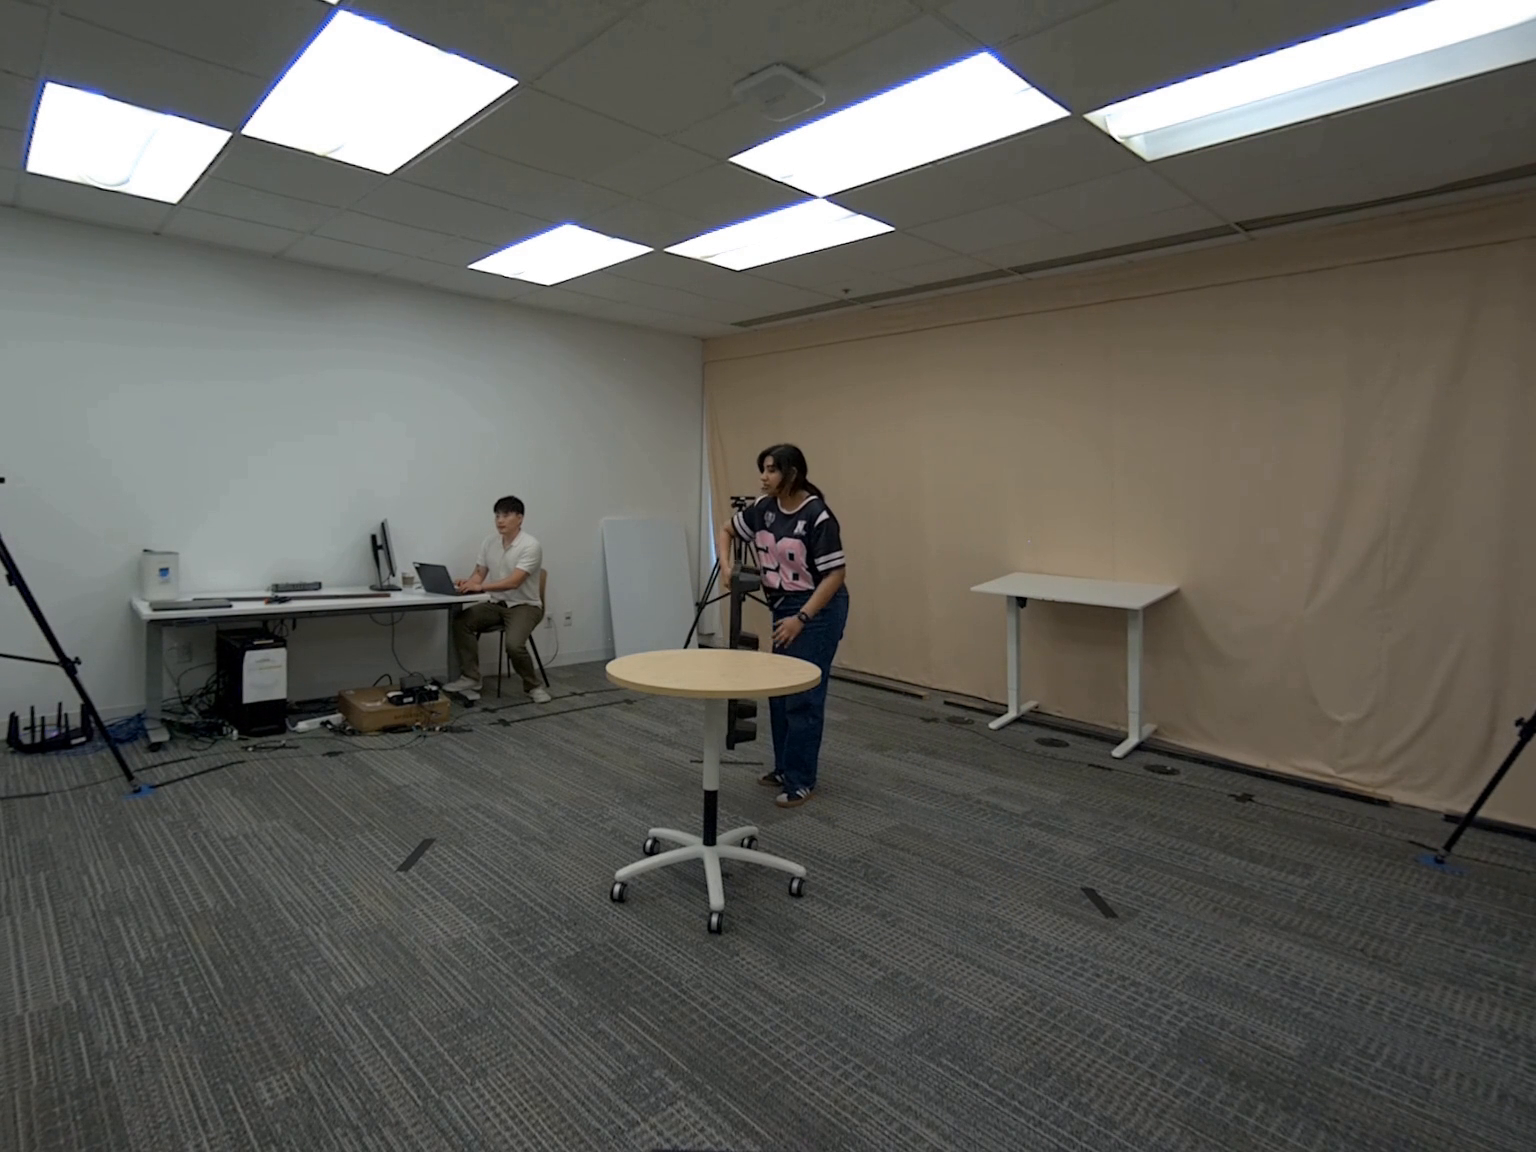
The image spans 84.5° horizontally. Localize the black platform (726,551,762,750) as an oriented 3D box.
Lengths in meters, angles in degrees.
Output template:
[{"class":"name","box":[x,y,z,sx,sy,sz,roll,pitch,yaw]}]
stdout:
[{"class":"black platform","box":[-0.127,0.353,4.006,0.143,0.803,0.607,2,5,-2]}]
